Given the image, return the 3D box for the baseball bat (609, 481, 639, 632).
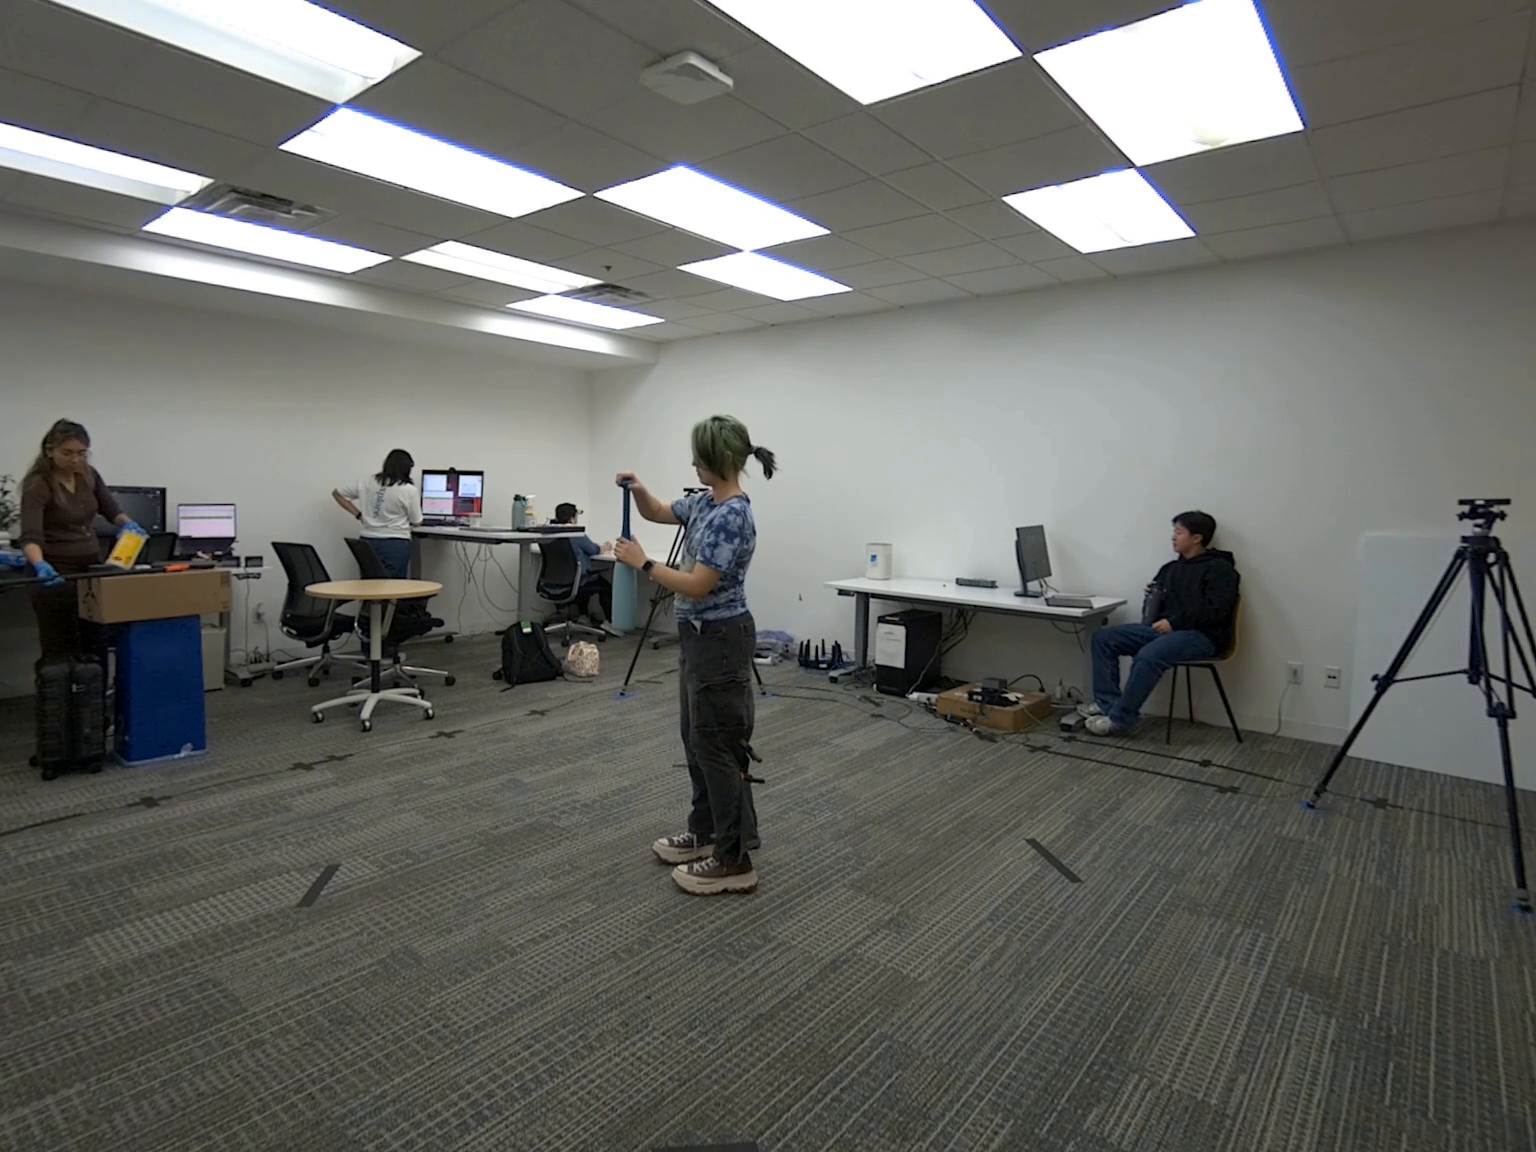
[{"bbox_3d":[-0.527,-0.076,3.075,0.089,0.542,0.089,1,2,-2],"label":"baseball bat"}]
